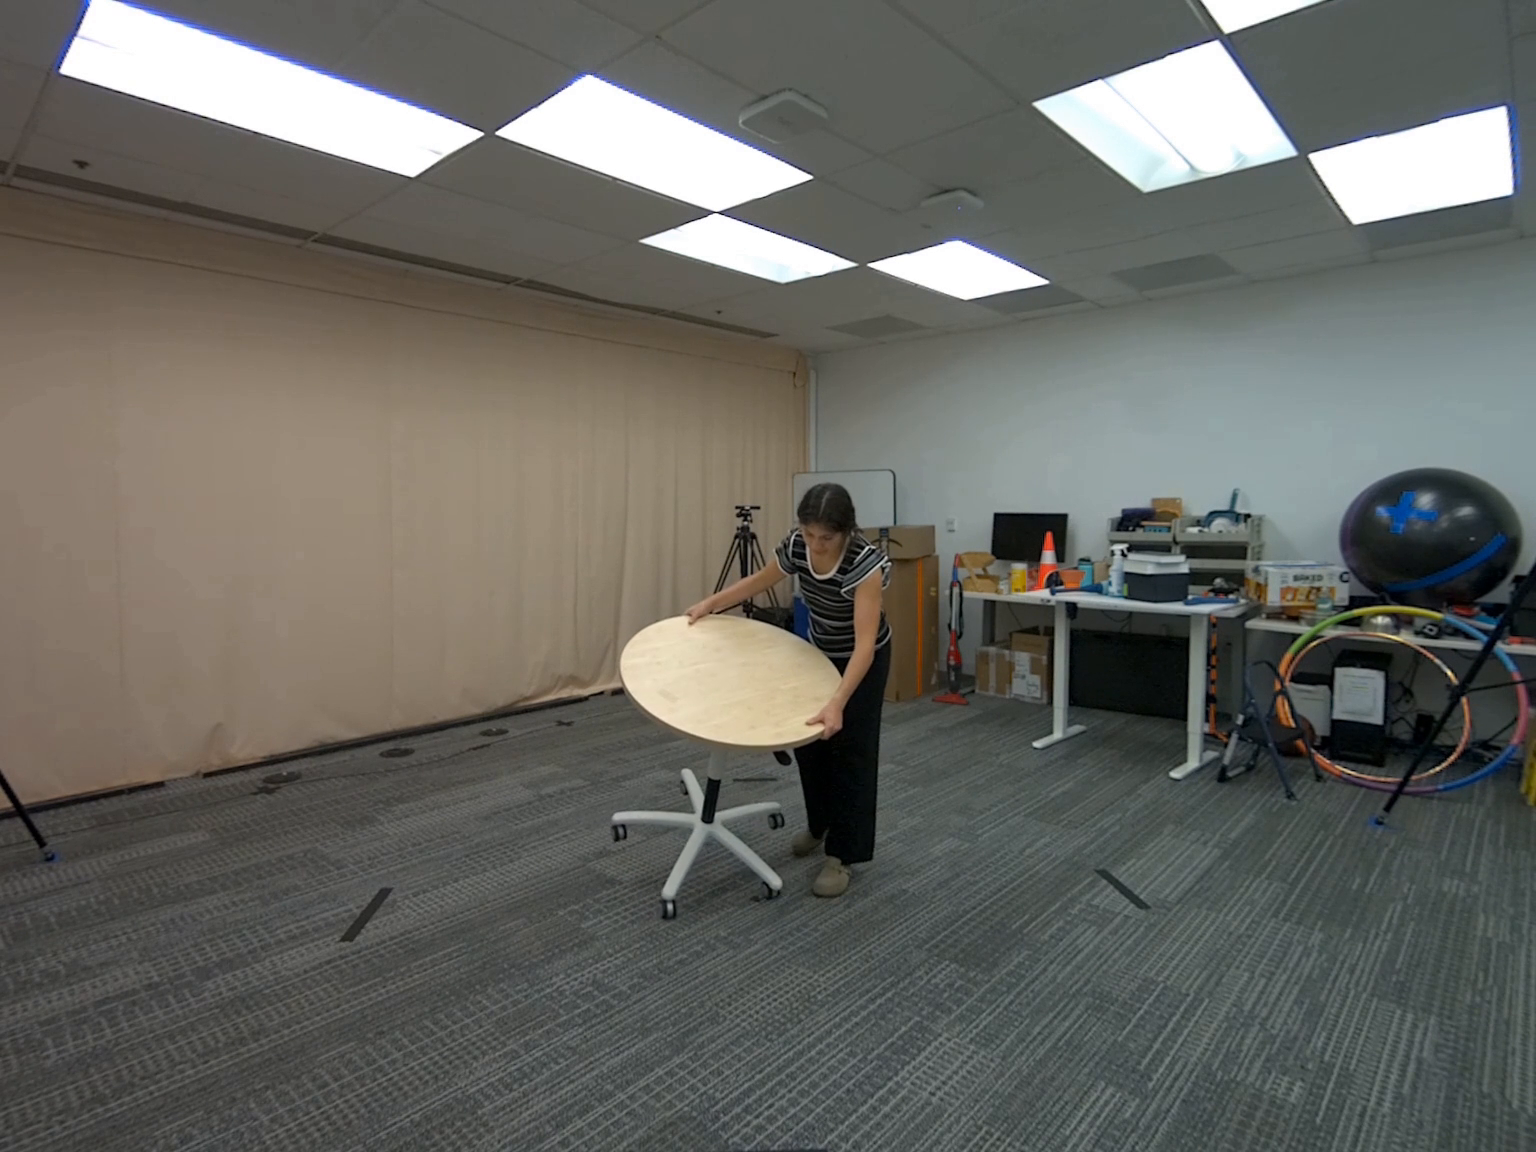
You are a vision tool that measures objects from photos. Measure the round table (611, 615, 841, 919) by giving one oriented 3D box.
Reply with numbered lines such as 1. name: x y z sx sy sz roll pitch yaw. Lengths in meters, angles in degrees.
1. round table: -0.186 0.675 3.011 0.760 0.786 0.775 7 24 -5
